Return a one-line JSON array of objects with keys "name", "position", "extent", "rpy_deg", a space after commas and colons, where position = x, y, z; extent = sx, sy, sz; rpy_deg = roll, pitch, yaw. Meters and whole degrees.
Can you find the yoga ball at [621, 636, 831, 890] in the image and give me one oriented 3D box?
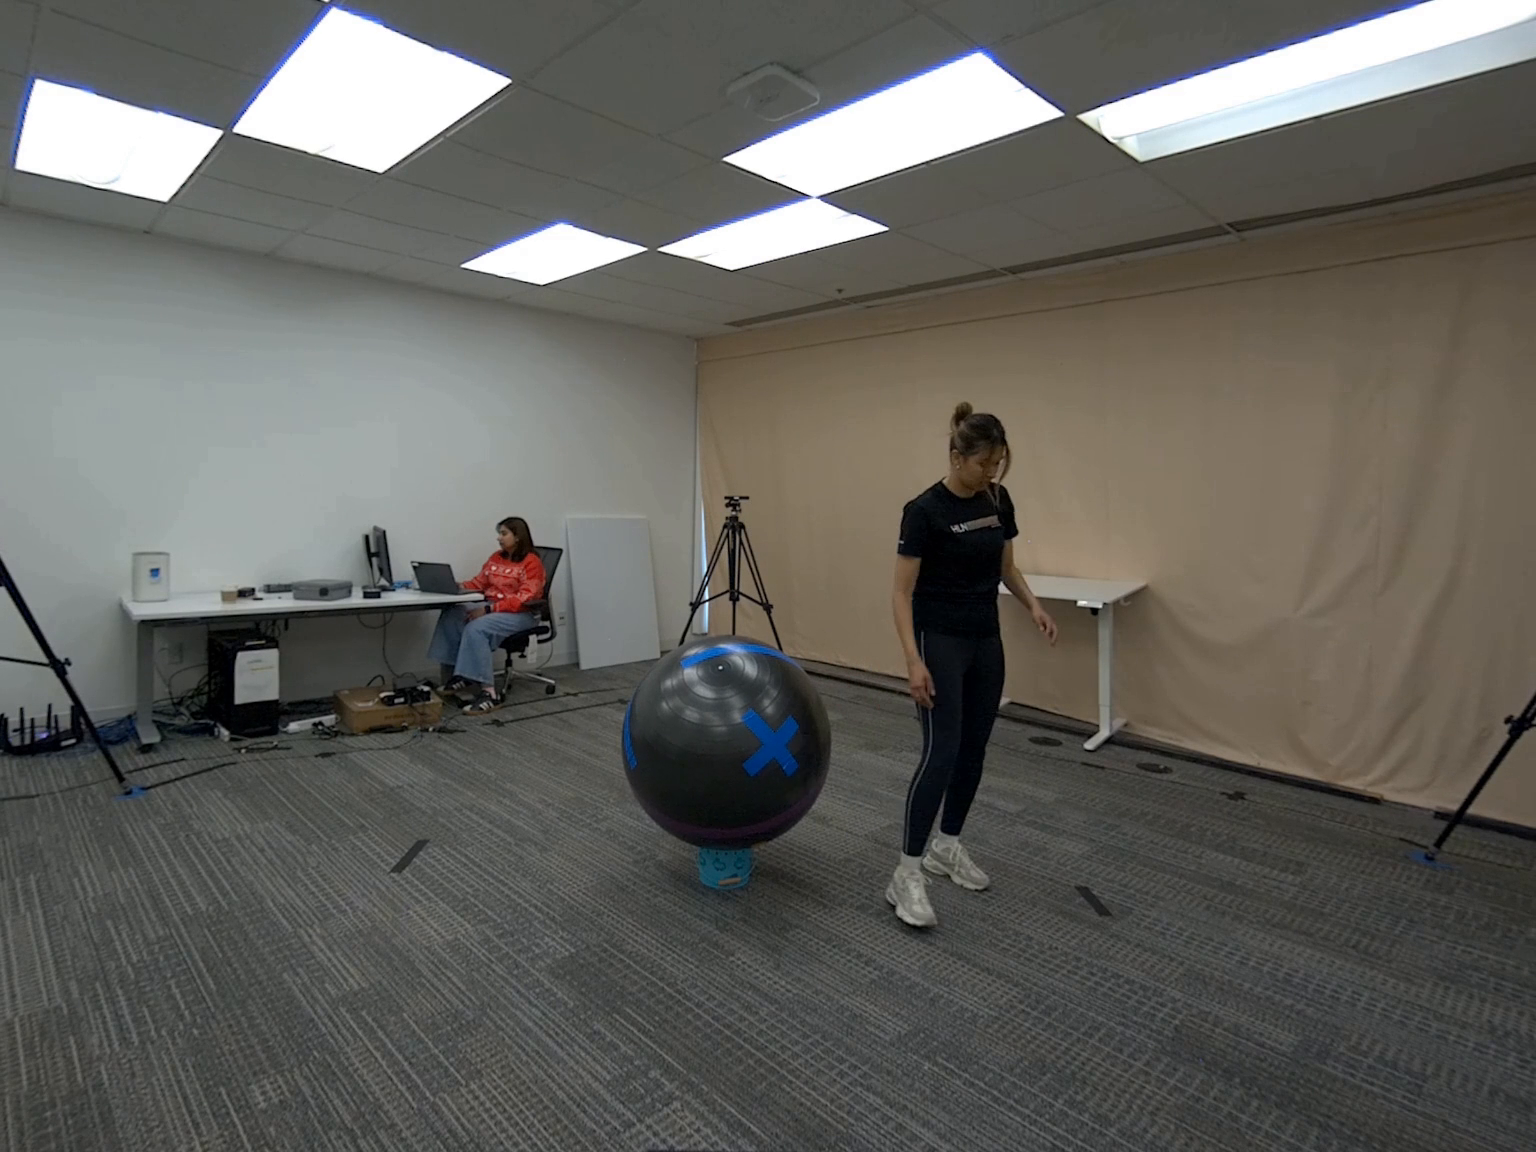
[{"name": "yoga ball", "position": [-0.153, 0.598, 3.047], "extent": [0.757, 0.756, 0.761], "rpy_deg": [1, 4, -1]}]
